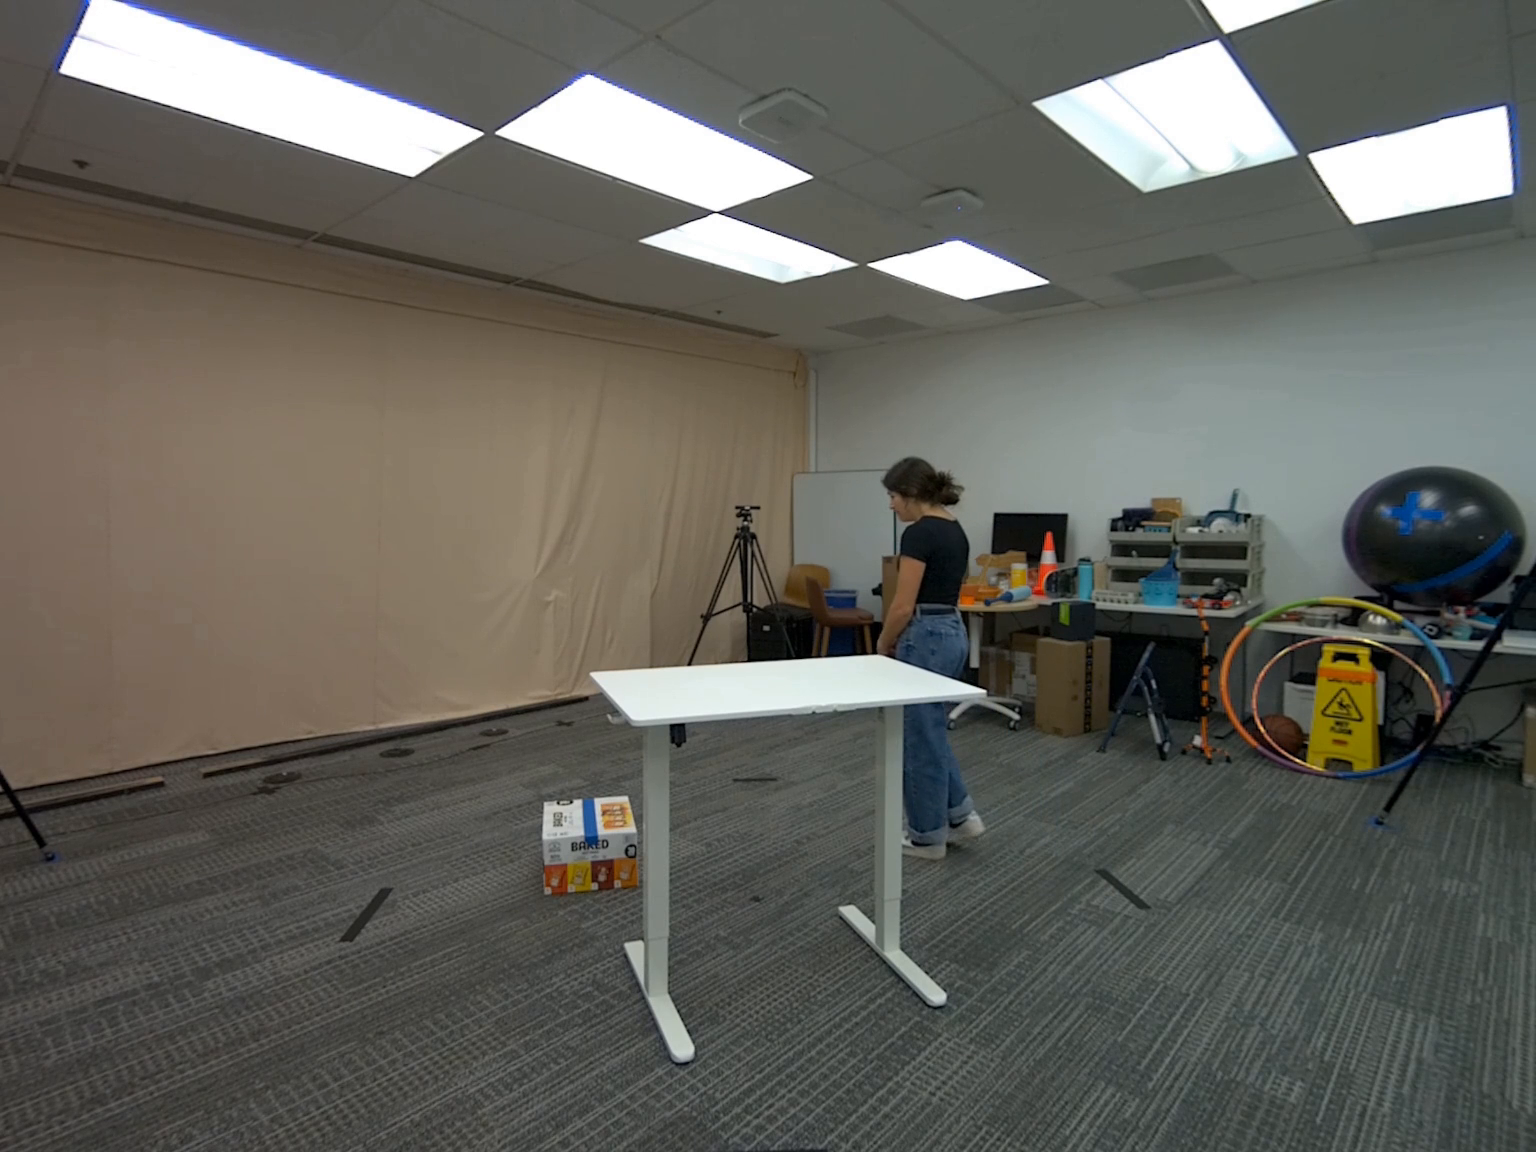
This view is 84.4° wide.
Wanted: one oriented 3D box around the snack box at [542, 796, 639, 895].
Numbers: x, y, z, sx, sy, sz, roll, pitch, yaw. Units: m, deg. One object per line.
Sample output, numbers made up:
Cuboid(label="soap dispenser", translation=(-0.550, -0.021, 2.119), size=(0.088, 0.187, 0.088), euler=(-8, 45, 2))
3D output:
Cuboid(label="snack box", translation=(-0.695, 1.027, 3.243), size=(0.336, 0.205, 0.411), euler=(-1, 4, -13))
